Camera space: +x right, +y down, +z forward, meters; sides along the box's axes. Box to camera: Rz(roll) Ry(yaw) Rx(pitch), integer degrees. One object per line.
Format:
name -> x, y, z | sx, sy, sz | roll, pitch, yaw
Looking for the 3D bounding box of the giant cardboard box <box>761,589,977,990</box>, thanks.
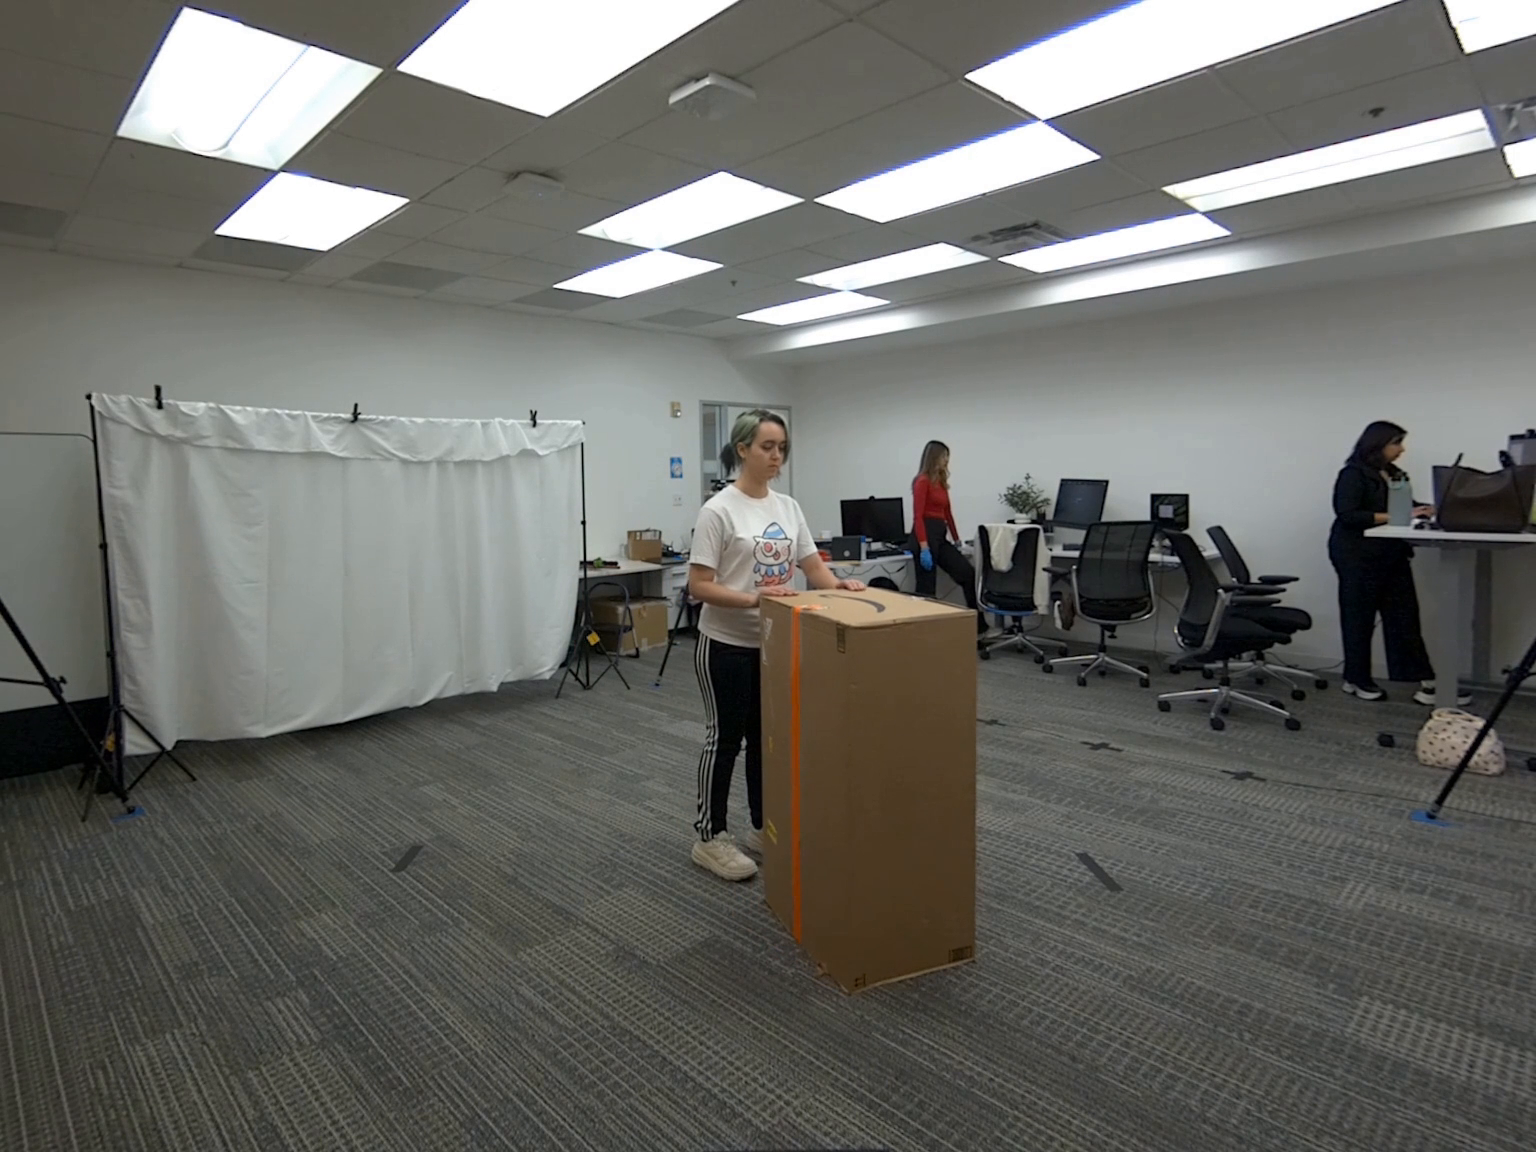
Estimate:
giant cardboard box -> 0.289, 0.589, 2.607 | 0.438, 1.023, 0.598 | -3, 5, -24
